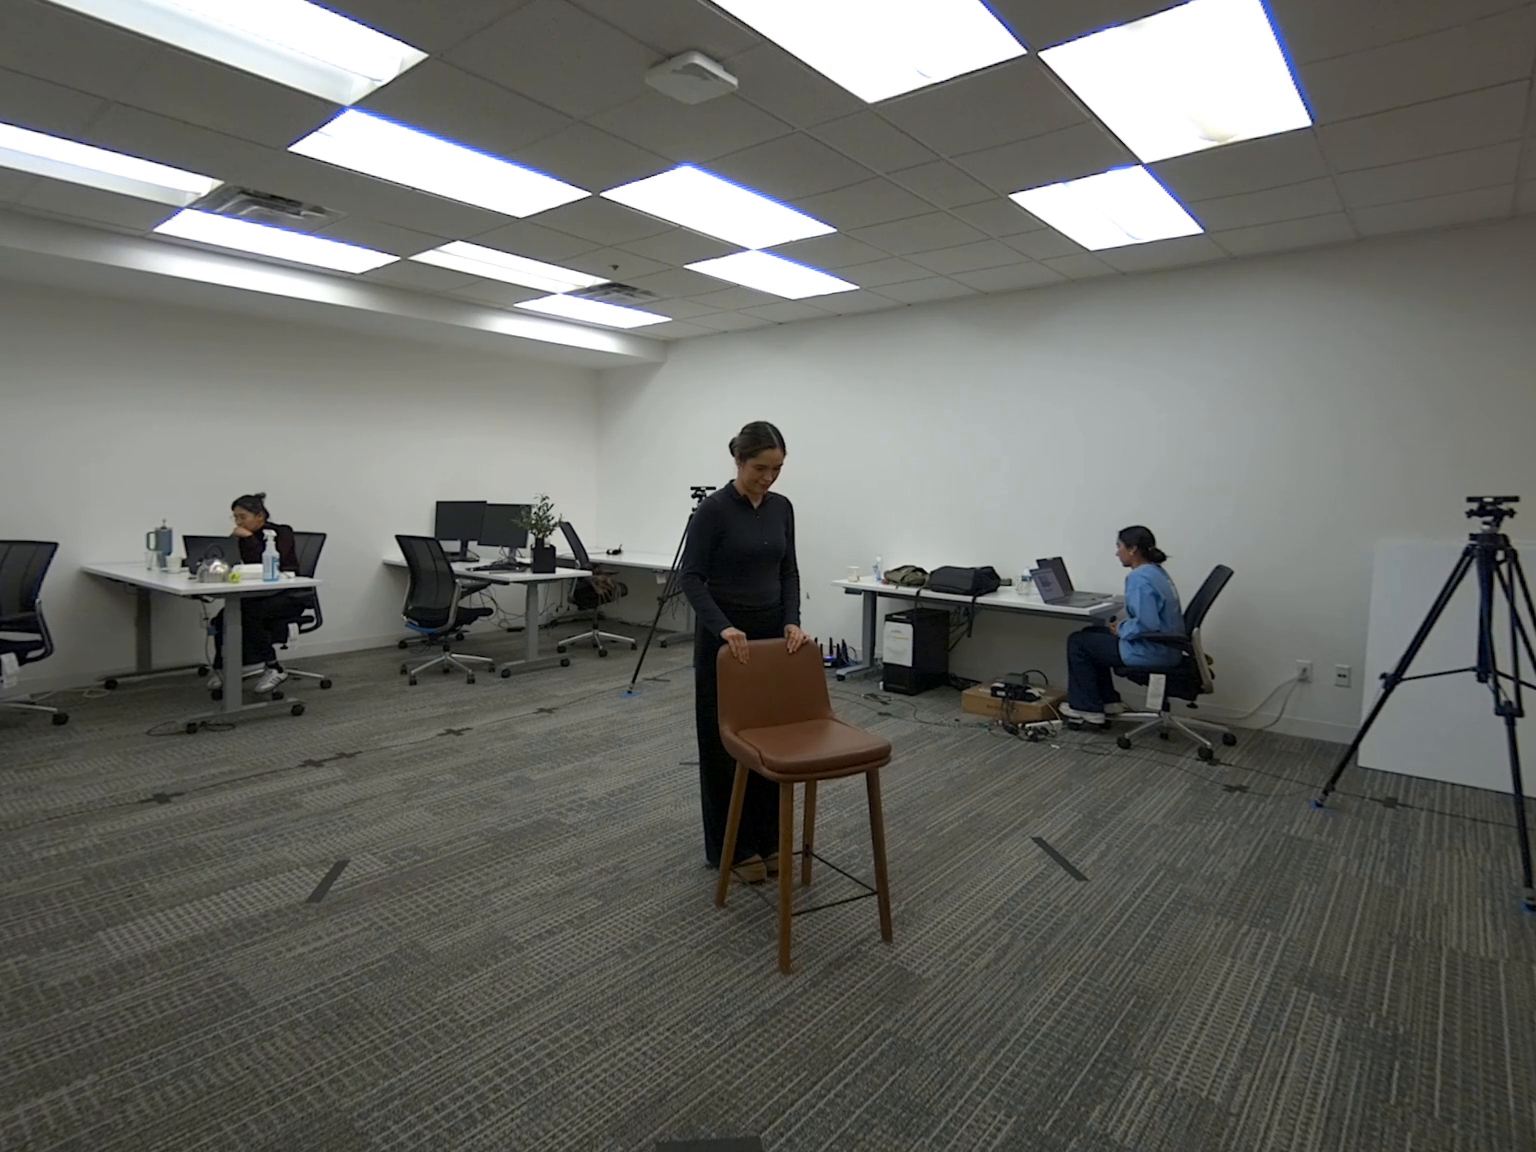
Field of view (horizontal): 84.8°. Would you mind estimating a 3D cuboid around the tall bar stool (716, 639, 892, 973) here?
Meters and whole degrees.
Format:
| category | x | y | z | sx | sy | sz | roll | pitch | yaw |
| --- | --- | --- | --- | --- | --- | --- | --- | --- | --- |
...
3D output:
| category | x | y | z | sx | sy | sz | roll | pitch | yaw |
| --- | --- | --- | --- | --- | --- | --- | --- | --- | --- |
| tall bar stool | 0.099 | 0.669 | 2.713 | 0.444 | 0.889 | 0.481 | -1 | 1 | -30 |
